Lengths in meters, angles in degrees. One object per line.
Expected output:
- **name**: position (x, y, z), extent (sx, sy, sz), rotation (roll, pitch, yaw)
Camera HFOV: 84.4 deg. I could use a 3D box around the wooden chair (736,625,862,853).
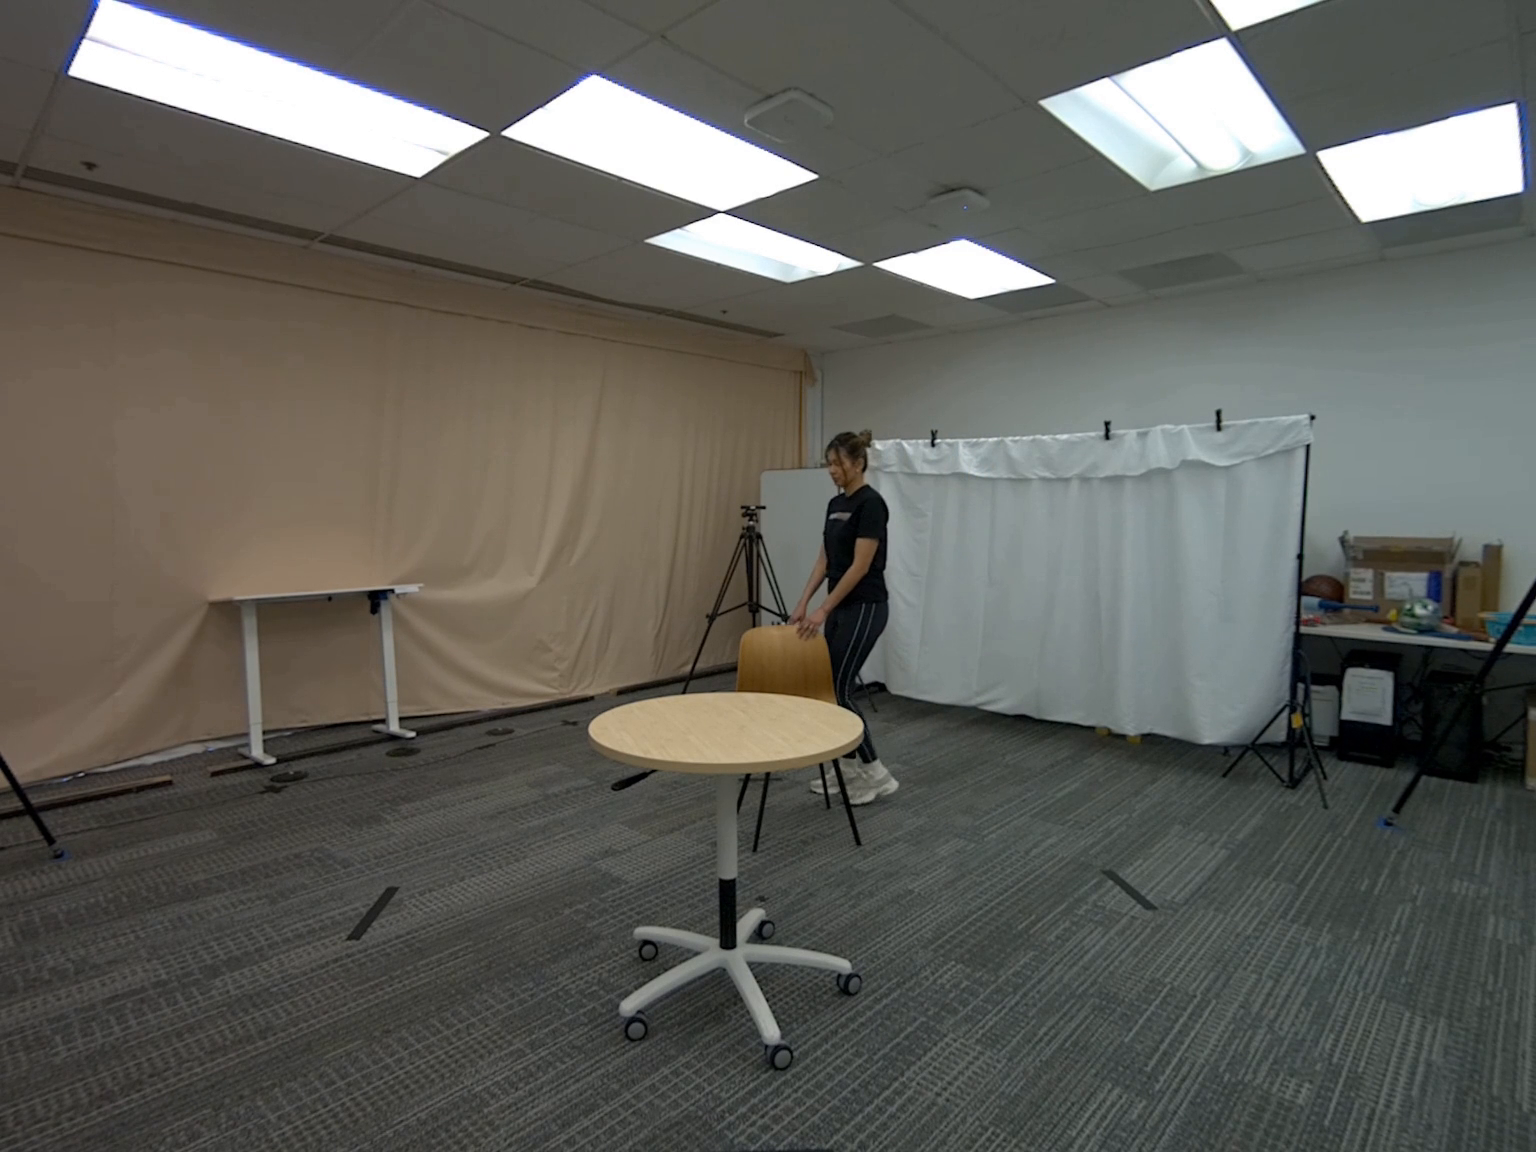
- **wooden chair**: position (0.115, 0.666, 3.594), extent (0.473, 0.878, 0.528), rotation (0, -1, -11)
